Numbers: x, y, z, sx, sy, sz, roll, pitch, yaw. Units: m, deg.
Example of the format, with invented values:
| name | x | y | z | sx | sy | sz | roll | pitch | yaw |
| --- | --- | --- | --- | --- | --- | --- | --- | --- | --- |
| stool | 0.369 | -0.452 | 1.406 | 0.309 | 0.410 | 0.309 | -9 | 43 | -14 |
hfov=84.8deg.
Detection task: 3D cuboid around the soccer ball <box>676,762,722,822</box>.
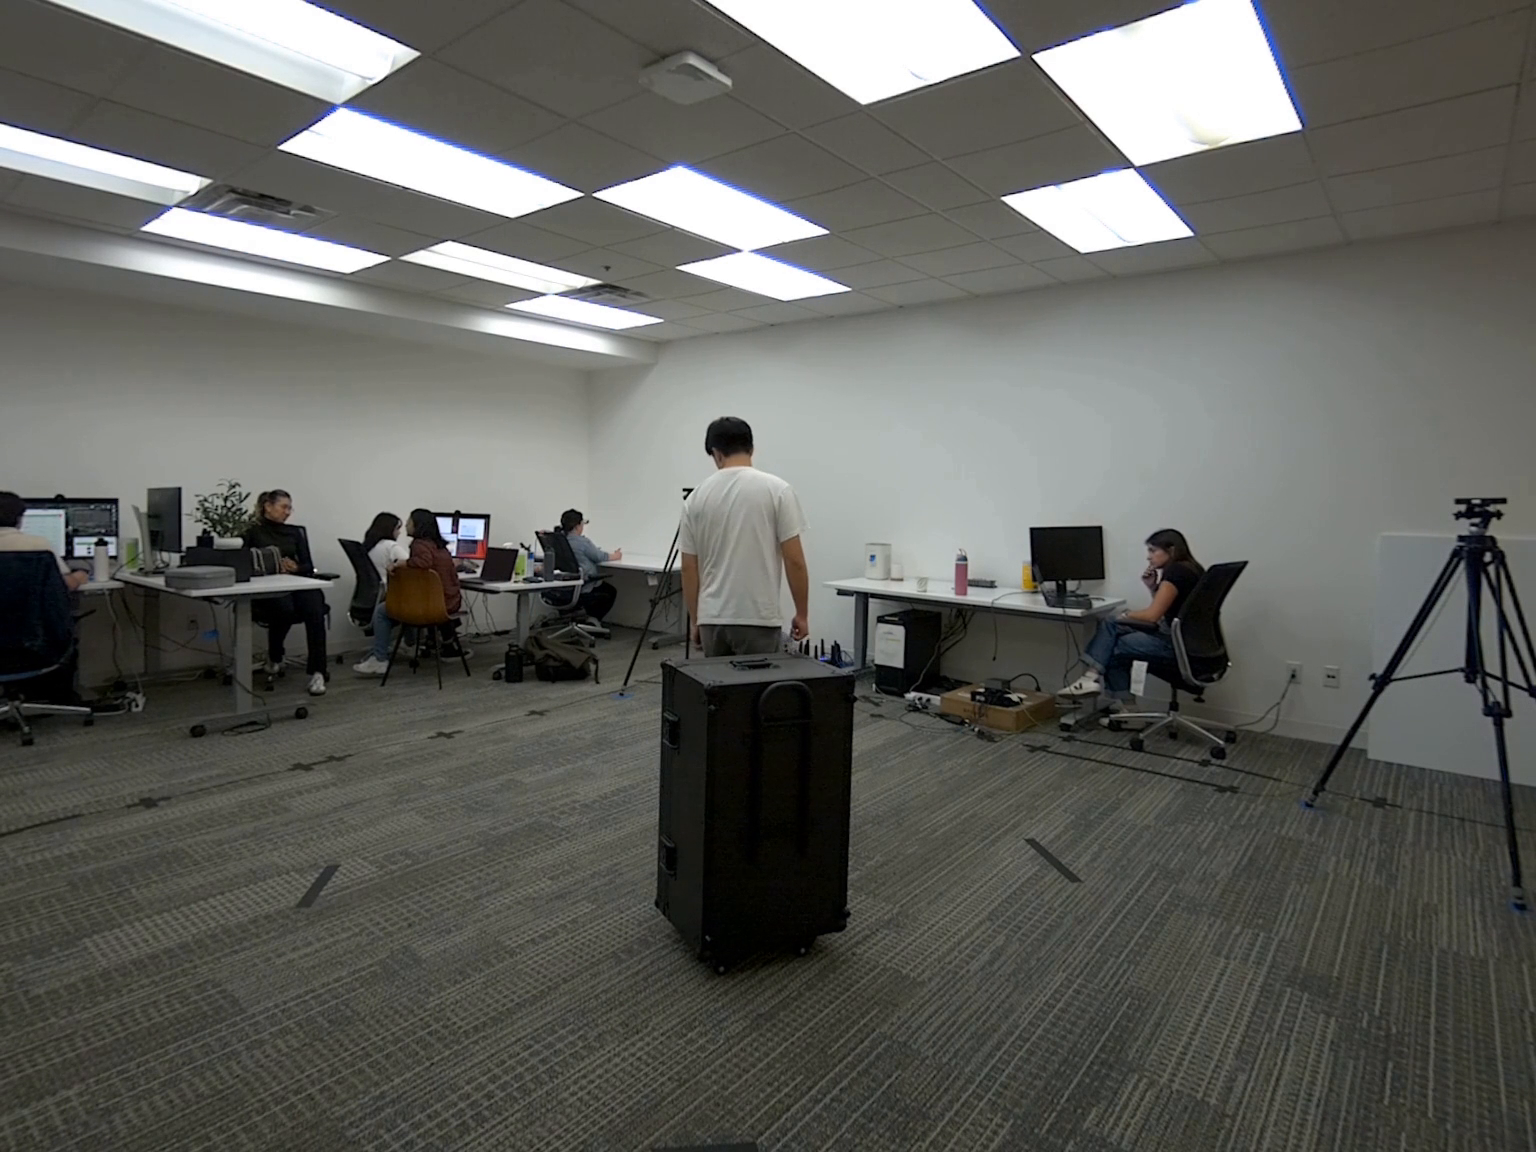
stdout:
| name | x | y | z | sx | sy | sz | roll | pitch | yaw |
| --- | --- | --- | --- | --- | --- | --- | --- | --- | --- |
| soccer ball | -0.296 | 0.917 | 3.593 | 0.187 | 0.187 | 0.188 | 1 | 4 | -2 |
